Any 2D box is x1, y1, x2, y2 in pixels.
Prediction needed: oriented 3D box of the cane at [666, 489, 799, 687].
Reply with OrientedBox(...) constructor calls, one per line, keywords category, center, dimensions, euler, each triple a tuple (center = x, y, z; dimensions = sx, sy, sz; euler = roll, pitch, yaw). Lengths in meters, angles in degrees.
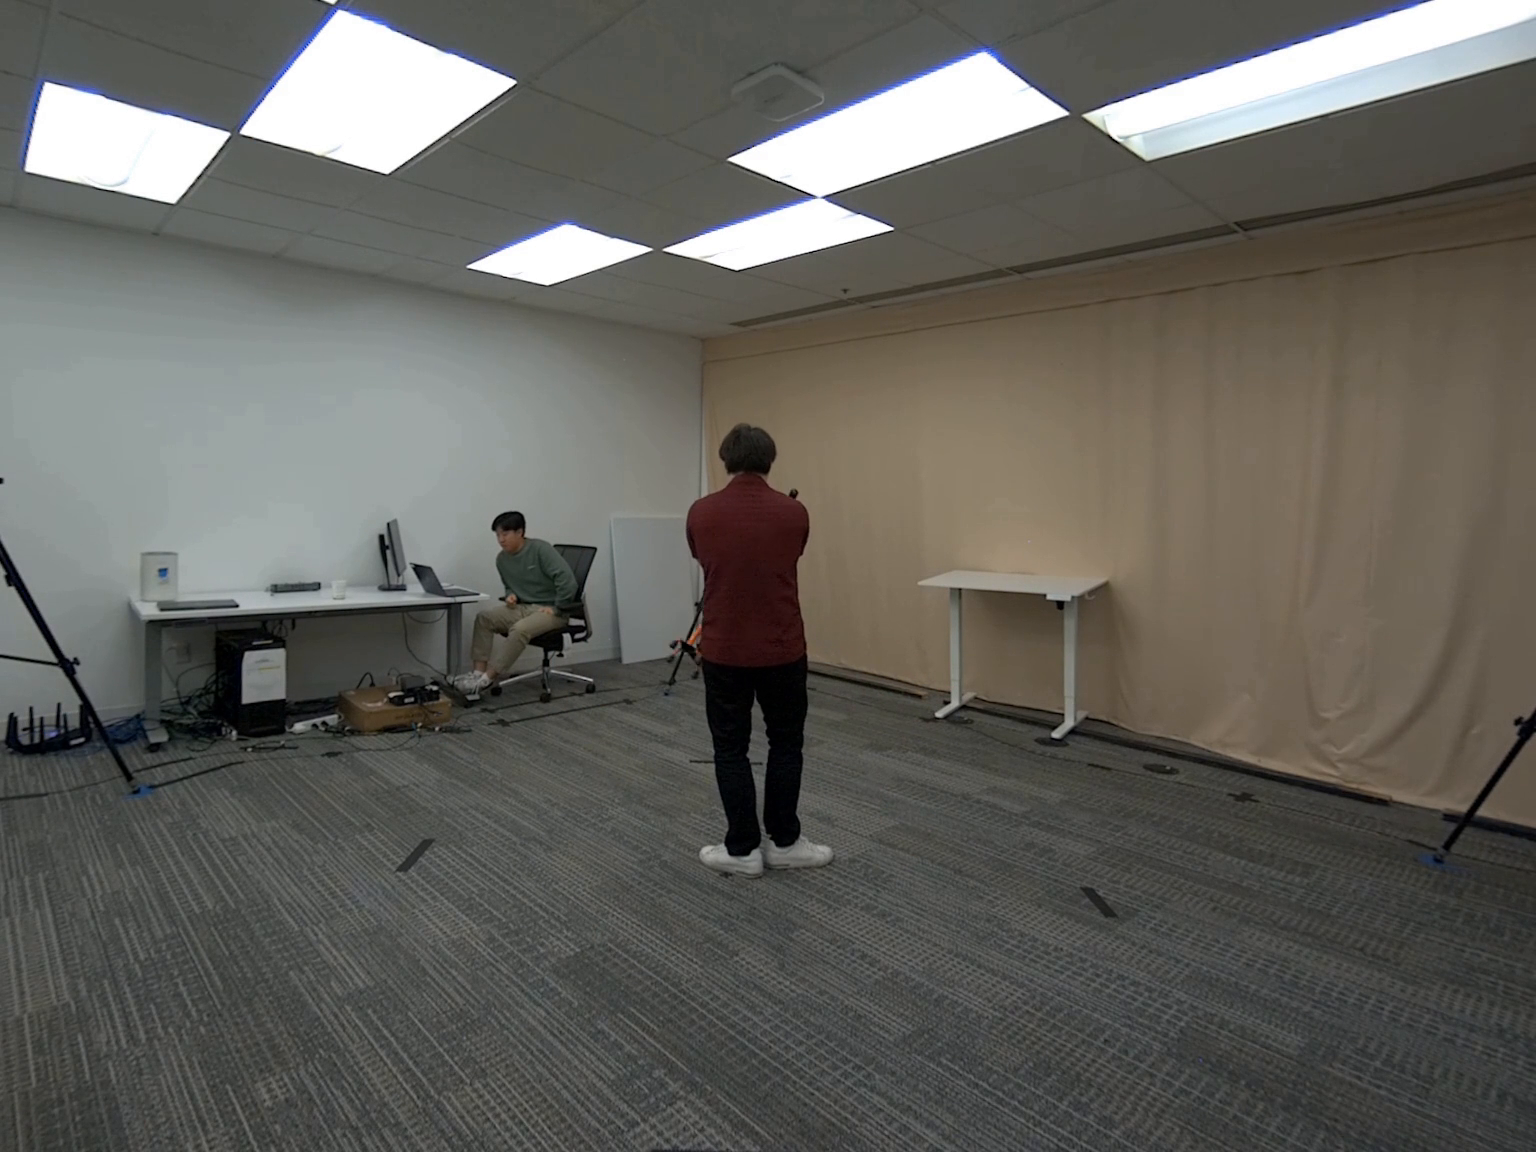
OrientedBox(category="cane", center=(-0.117, 0.010, 3.571), dimensions=(0.153, 0.911, 0.204), euler=(30, -25, 6))
